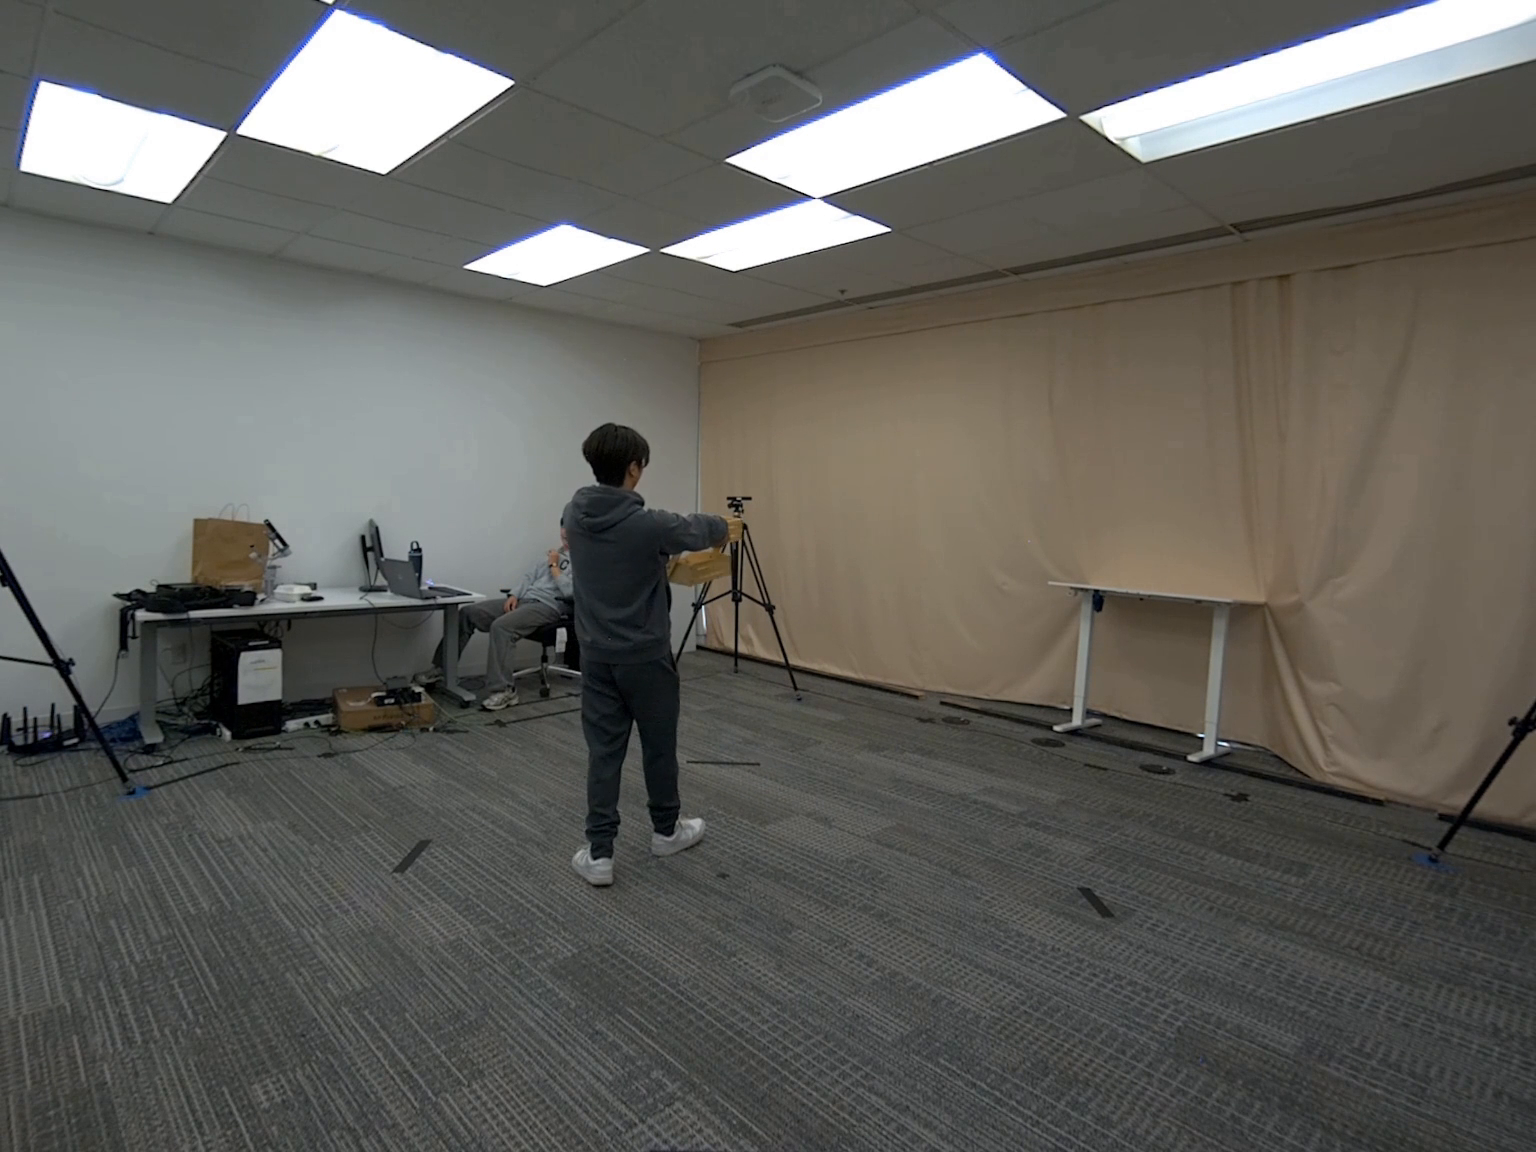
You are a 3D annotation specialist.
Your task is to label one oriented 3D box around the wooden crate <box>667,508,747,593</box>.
[{"bbox_3d":[-0.316,-0.122,3.650,0.309,0.271,0.319,11,14,31],"label":"wooden crate"}]
